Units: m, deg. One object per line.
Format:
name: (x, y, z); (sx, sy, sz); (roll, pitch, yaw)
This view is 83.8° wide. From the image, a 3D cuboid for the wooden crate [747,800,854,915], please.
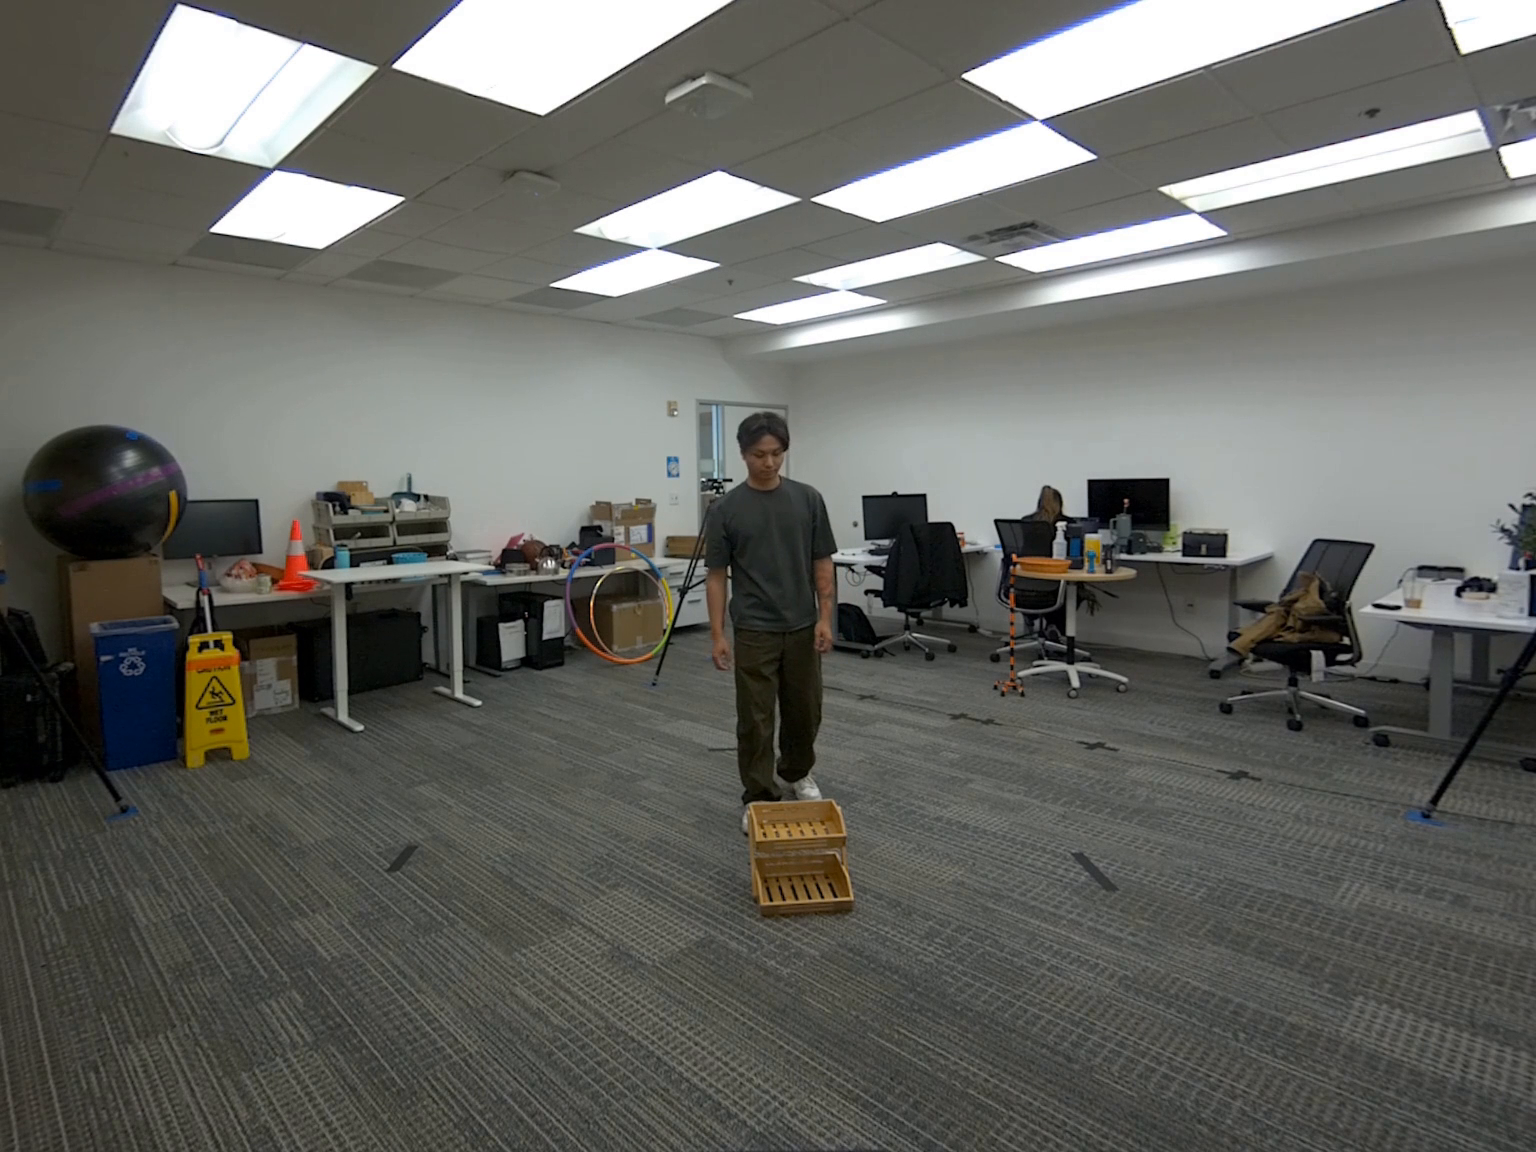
wooden crate: (0.107, 0.936, 2.862); (0.322, 0.272, 0.305); (-2, 5, -7)
